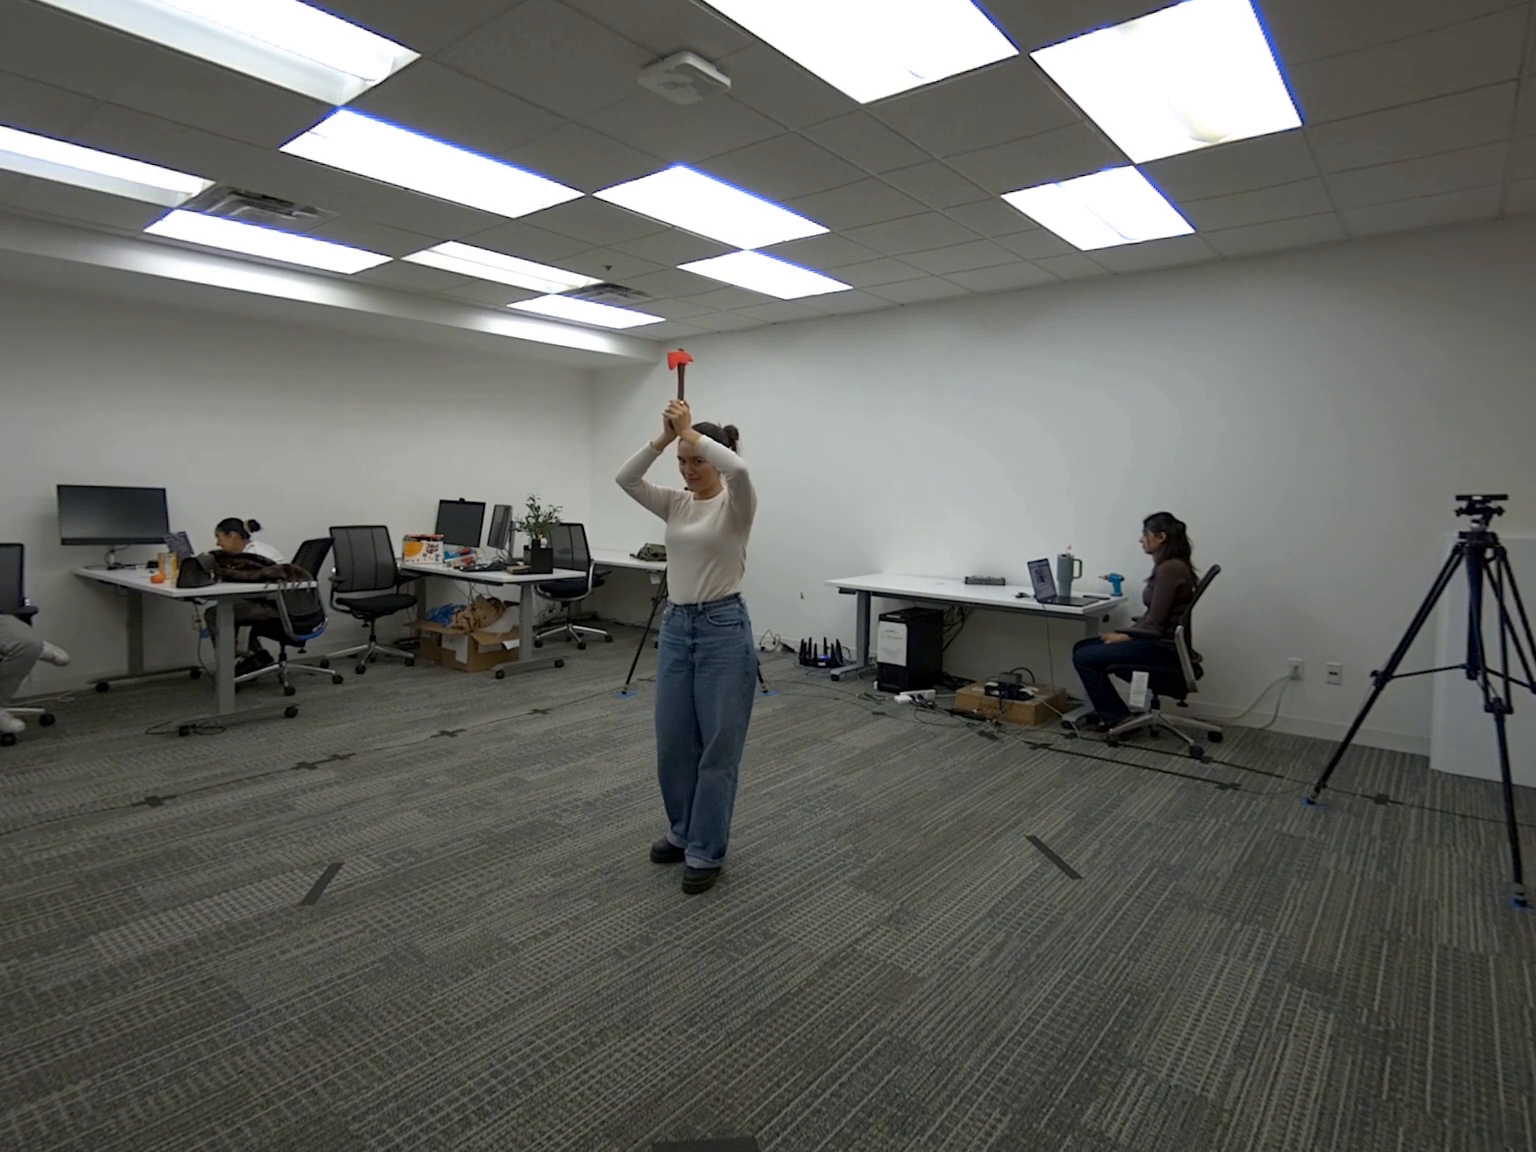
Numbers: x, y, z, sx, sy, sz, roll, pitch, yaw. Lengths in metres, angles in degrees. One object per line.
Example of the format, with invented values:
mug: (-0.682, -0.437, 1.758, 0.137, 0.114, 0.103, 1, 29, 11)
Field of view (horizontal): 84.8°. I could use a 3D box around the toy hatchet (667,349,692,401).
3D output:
toy hatchet: (-0.325, -0.644, 2.847, 0.030, 0.273, 0.126, 1, -17, 30)
